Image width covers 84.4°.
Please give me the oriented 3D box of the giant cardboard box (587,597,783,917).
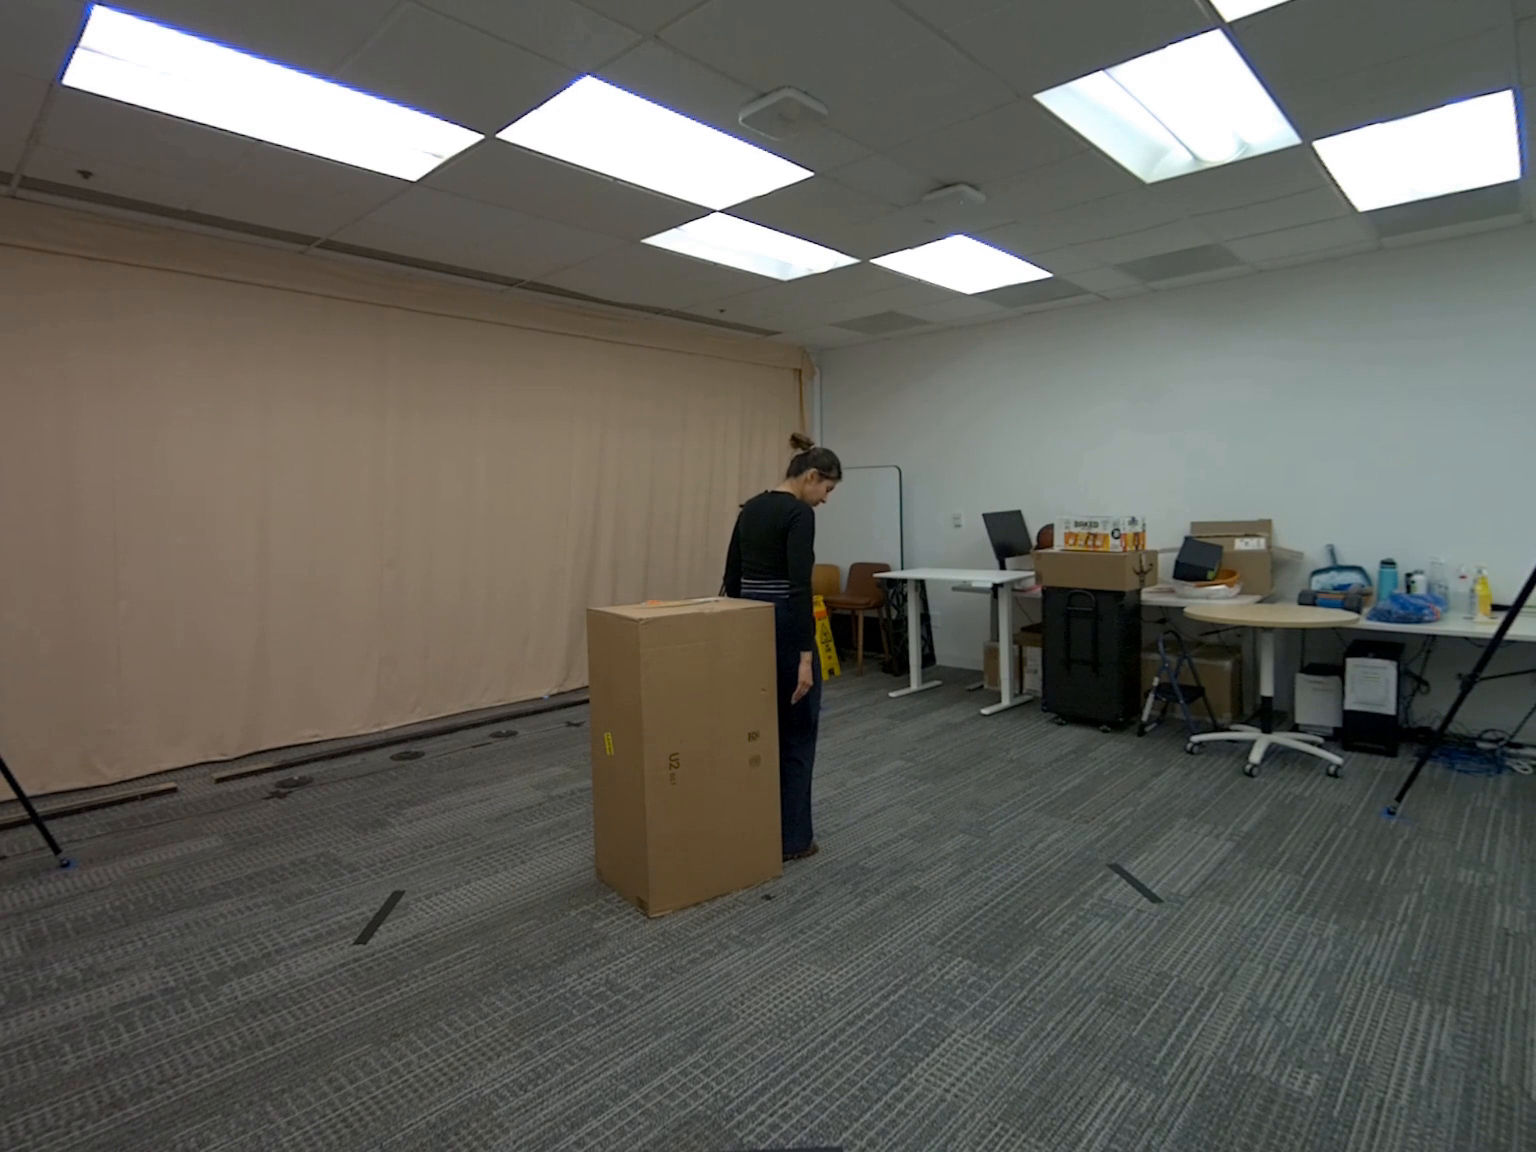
[{"bbox_3d":[-0.317,0.625,3.142,0.561,1.024,0.439,-4,4,-35],"label":"giant cardboard box"}]
